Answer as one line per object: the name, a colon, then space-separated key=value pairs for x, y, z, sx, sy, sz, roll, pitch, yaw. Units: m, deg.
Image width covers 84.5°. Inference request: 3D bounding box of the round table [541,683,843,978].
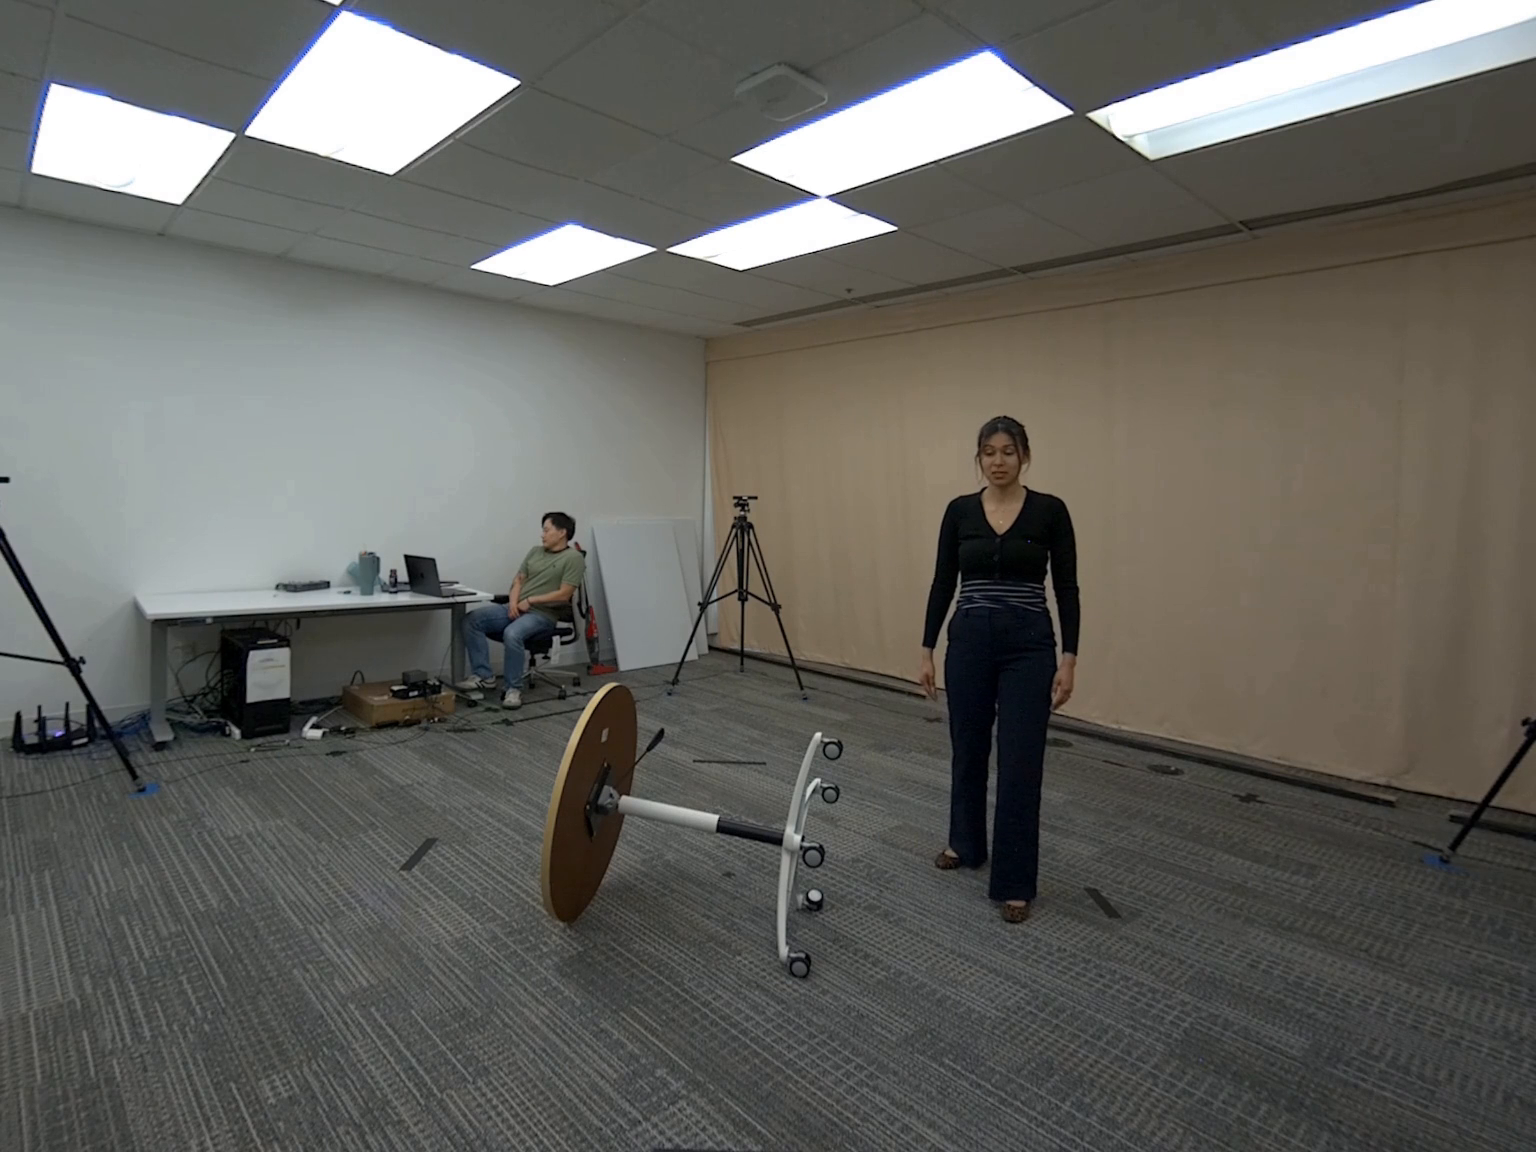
round table: x=-0.203 y=0.797 z=2.716 sx=0.801 sy=0.761 sz=0.759 roll=8 pitch=5 yaw=10
